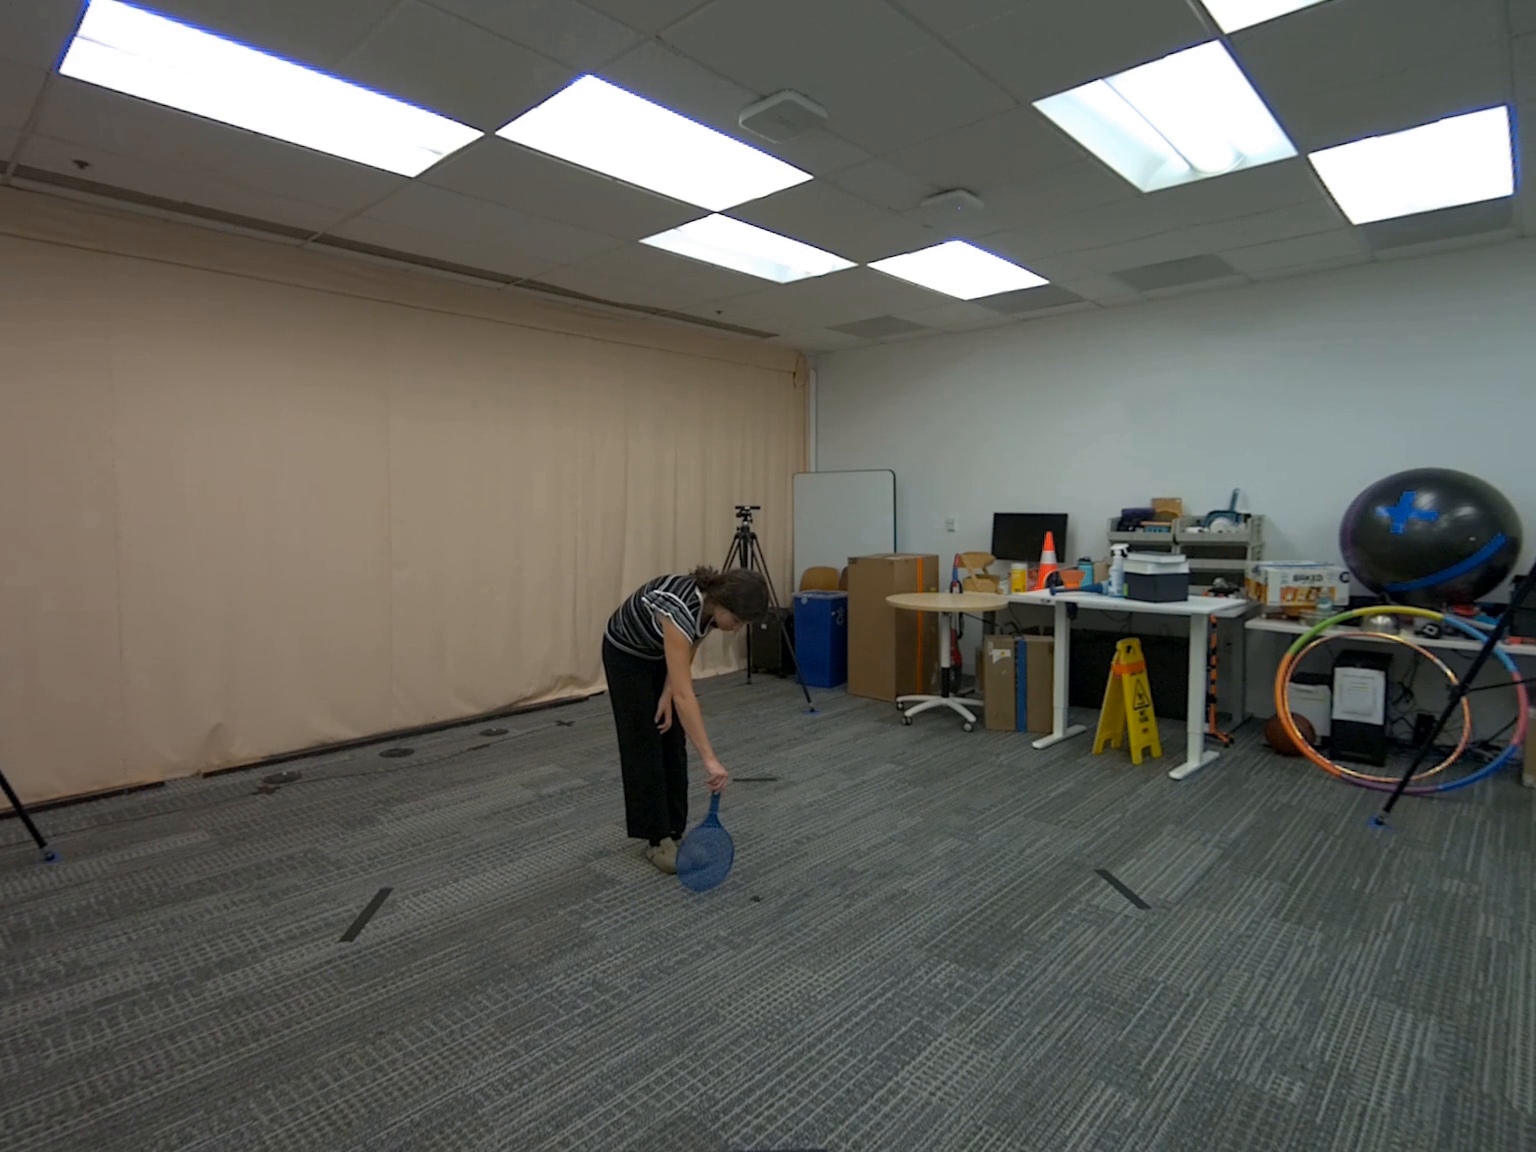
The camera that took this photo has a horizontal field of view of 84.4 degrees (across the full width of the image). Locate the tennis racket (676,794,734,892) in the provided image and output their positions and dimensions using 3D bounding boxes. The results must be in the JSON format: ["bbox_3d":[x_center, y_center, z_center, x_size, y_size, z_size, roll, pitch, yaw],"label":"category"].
[{"bbox_3d":[-0.218,0.933,3.015,0.208,0.430,0.033,0,16,-26],"label":"tennis racket"}]
